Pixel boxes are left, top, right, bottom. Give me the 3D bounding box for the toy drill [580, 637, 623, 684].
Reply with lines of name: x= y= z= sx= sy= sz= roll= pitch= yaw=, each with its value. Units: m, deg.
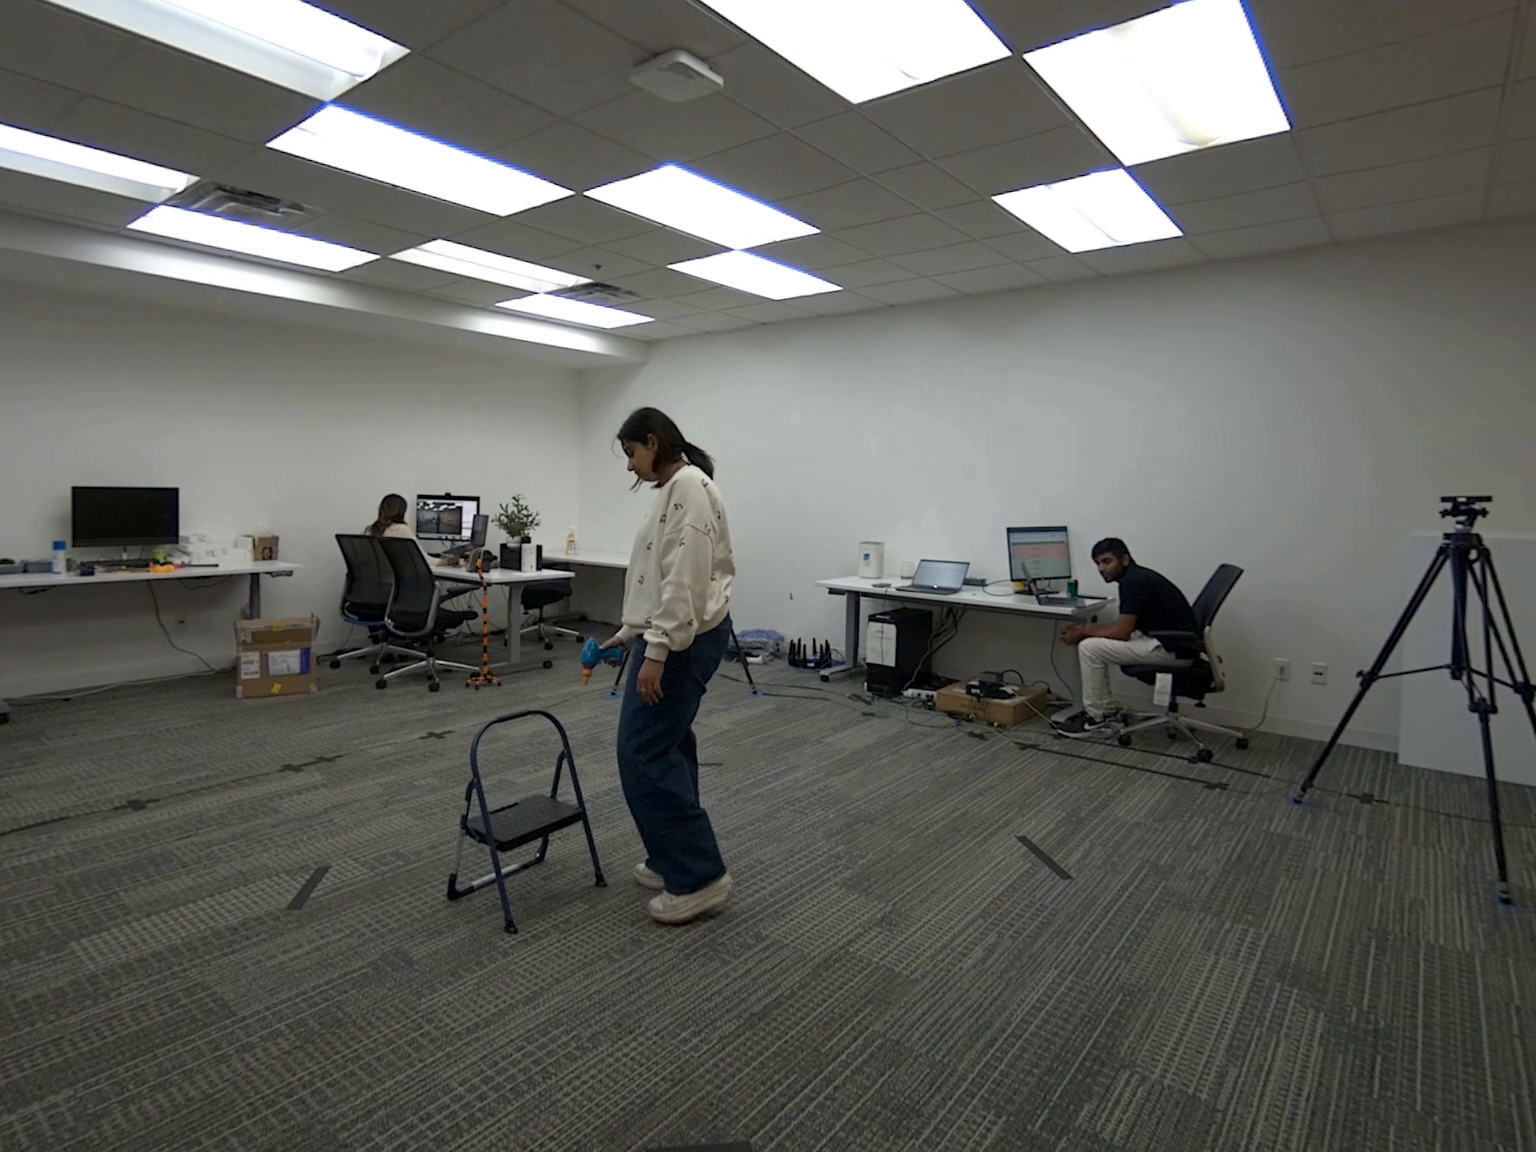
toy drill: x=-0.596 y=0.304 z=2.968 sx=0.144 sy=0.173 sz=0.061 roll=10 pitch=-22 yaw=-10
